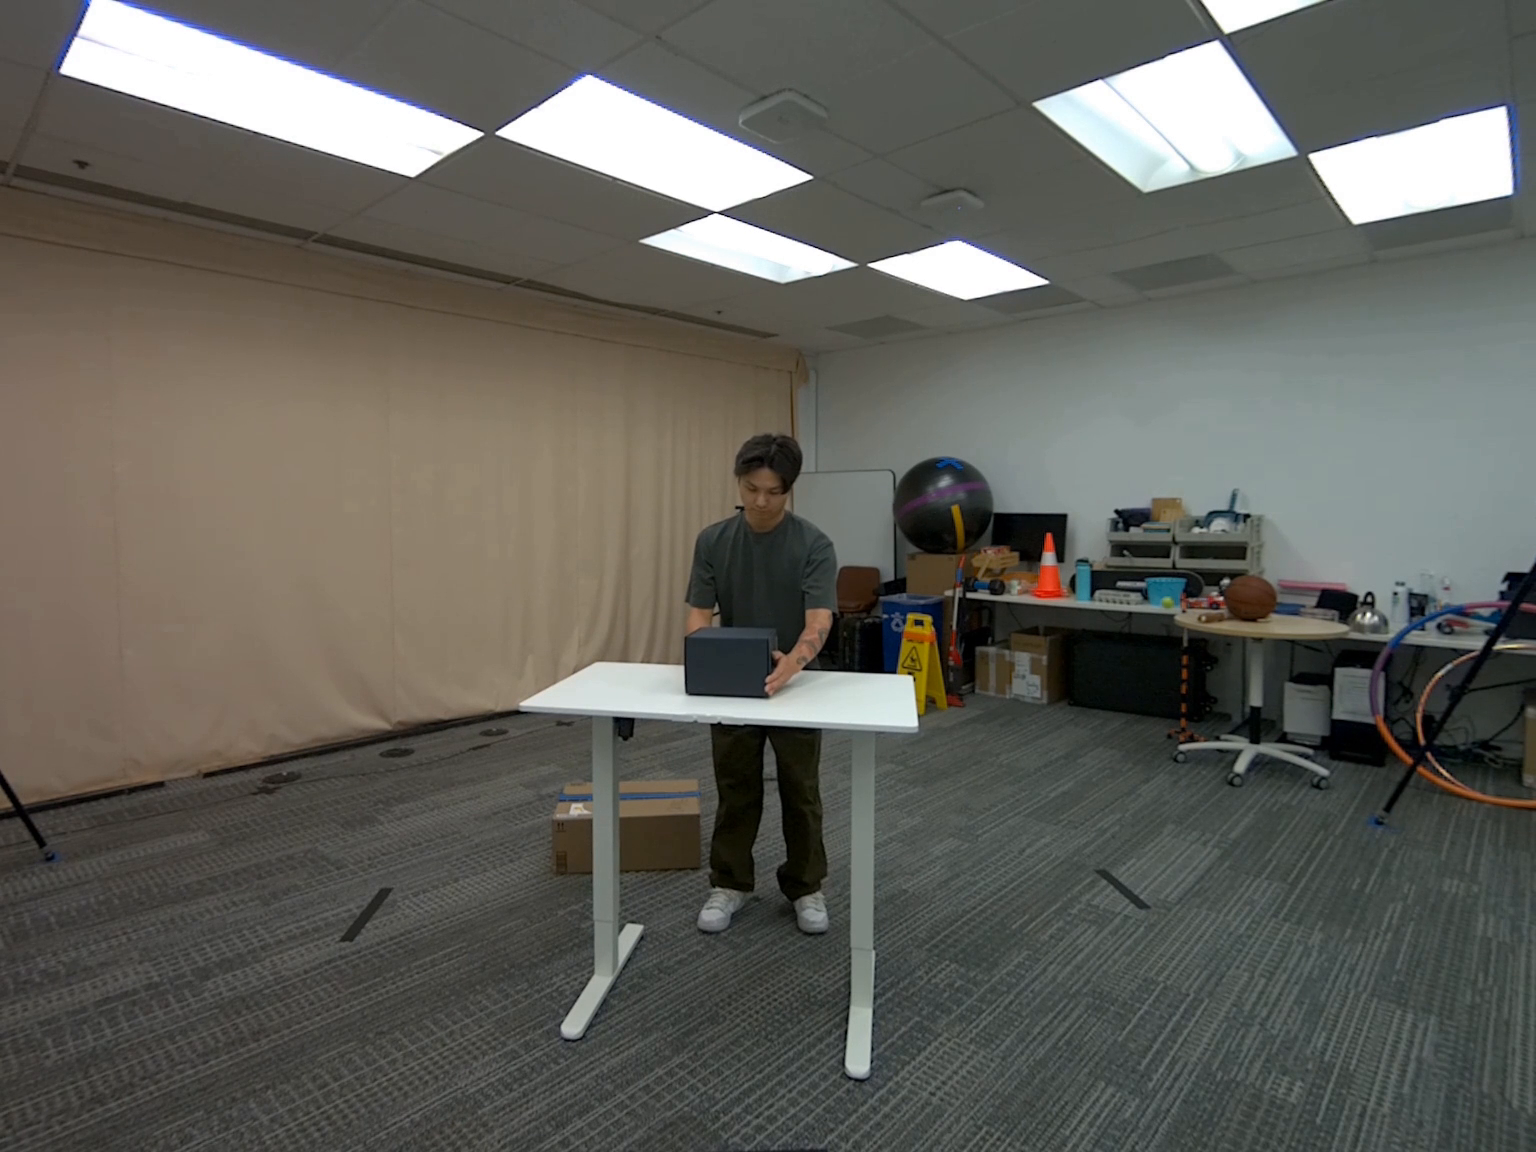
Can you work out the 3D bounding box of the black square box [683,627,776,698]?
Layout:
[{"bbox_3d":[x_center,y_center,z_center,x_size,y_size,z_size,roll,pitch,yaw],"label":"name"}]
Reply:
[{"bbox_3d":[-0.111,0.234,2.342,0.230,0.155,0.215,0,3,10],"label":"black square box"}]
